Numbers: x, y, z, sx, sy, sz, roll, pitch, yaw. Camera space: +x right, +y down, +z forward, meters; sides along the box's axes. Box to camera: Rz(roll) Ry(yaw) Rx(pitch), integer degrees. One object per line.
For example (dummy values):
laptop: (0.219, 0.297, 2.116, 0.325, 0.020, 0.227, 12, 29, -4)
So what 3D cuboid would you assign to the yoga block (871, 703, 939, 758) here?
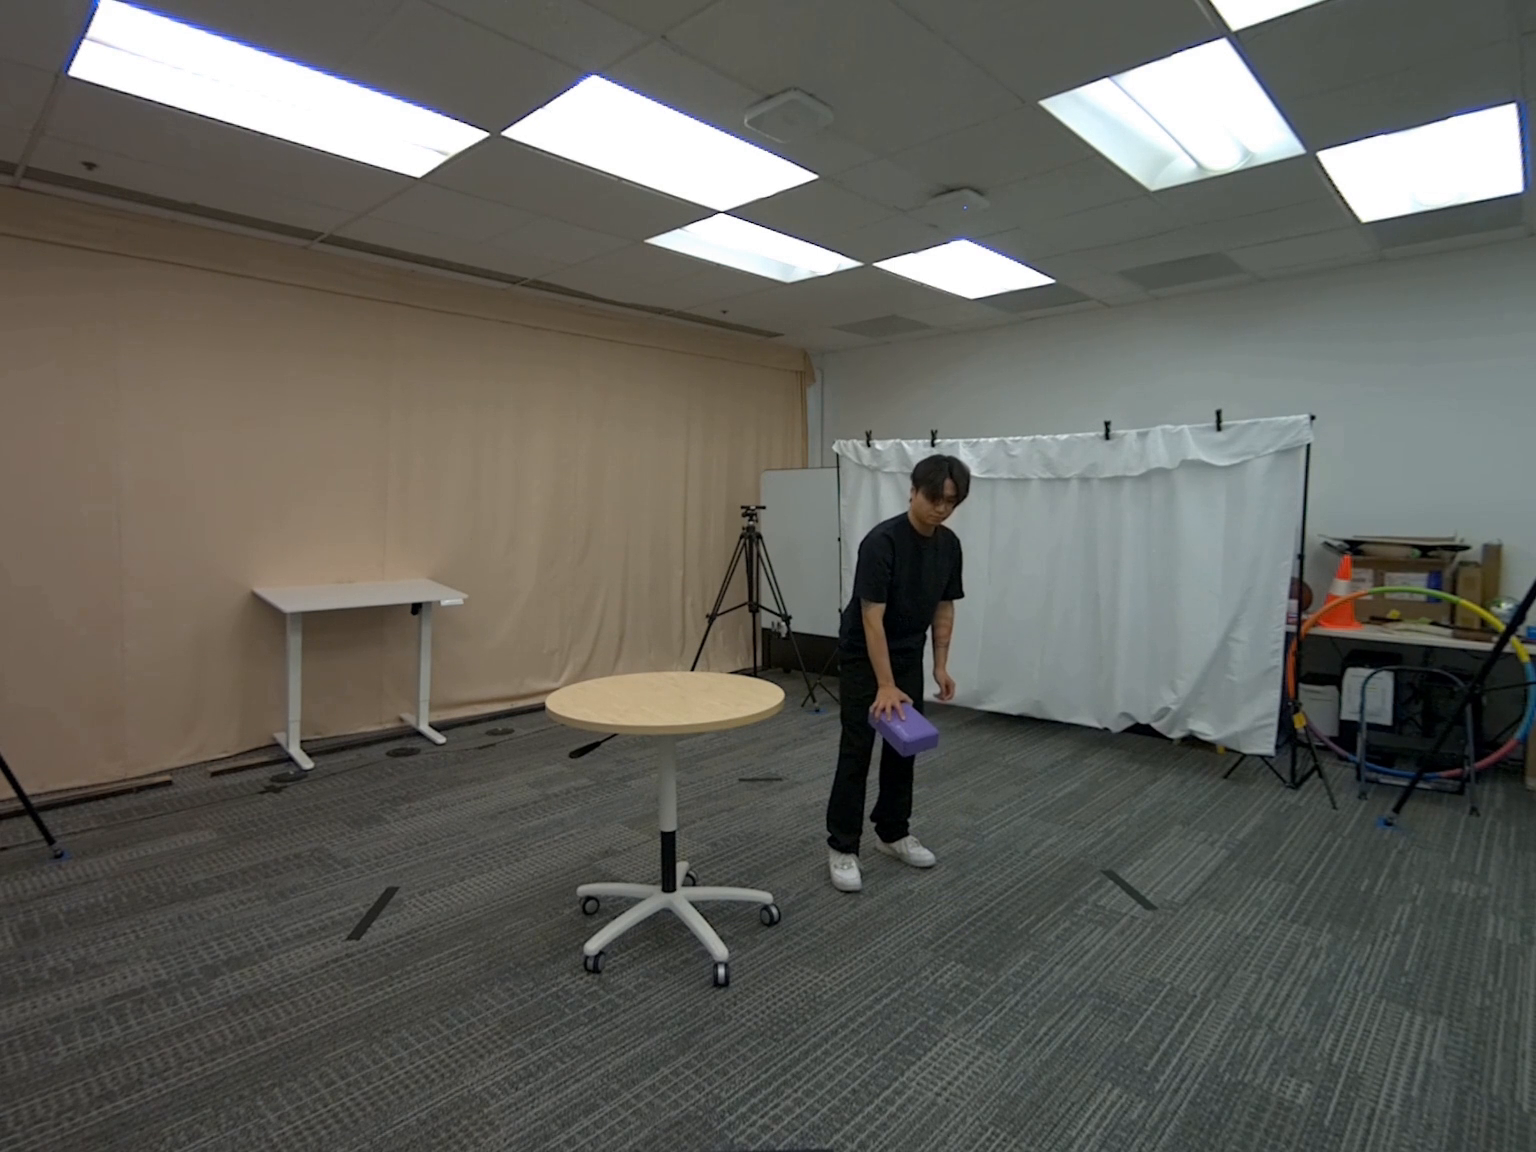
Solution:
yoga block: (0.484, 0.531, 2.971, 0.146, 0.075, 0.237, -11, 25, -24)
